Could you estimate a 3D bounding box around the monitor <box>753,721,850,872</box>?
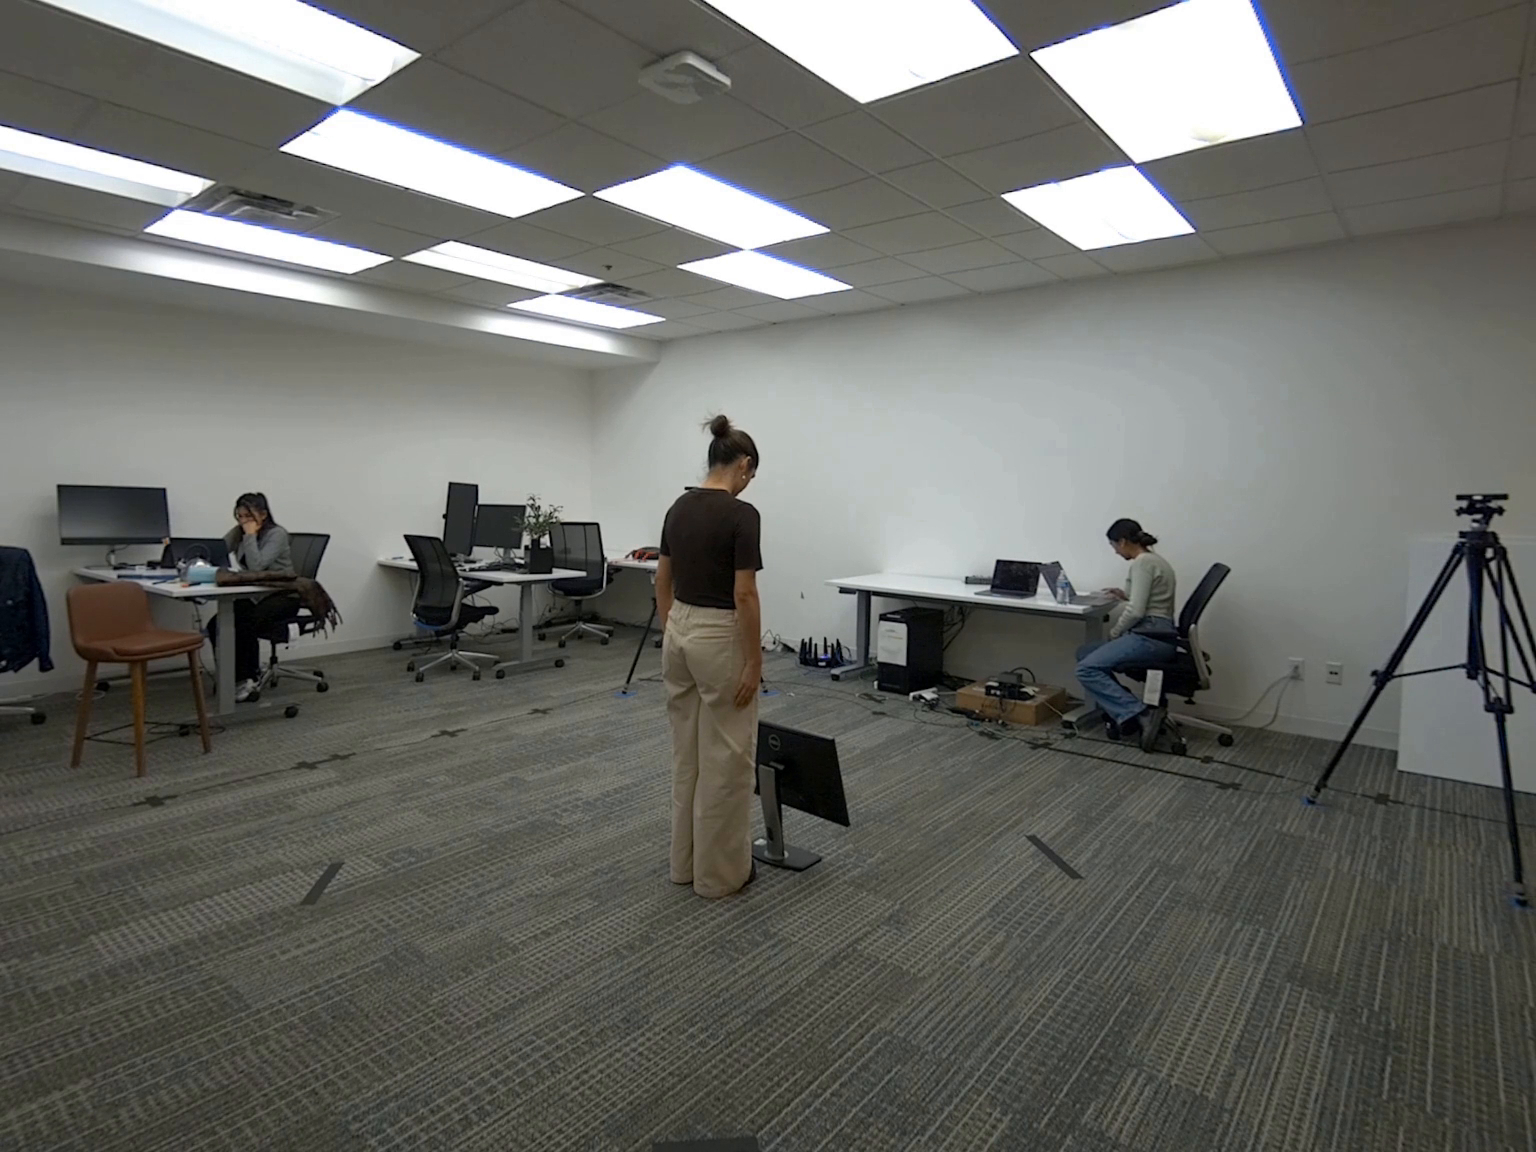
[{"bbox_3d":[0.037,0.810,3.194,0.557,0.521,0.181,4,6,42],"label":"monitor"}]
